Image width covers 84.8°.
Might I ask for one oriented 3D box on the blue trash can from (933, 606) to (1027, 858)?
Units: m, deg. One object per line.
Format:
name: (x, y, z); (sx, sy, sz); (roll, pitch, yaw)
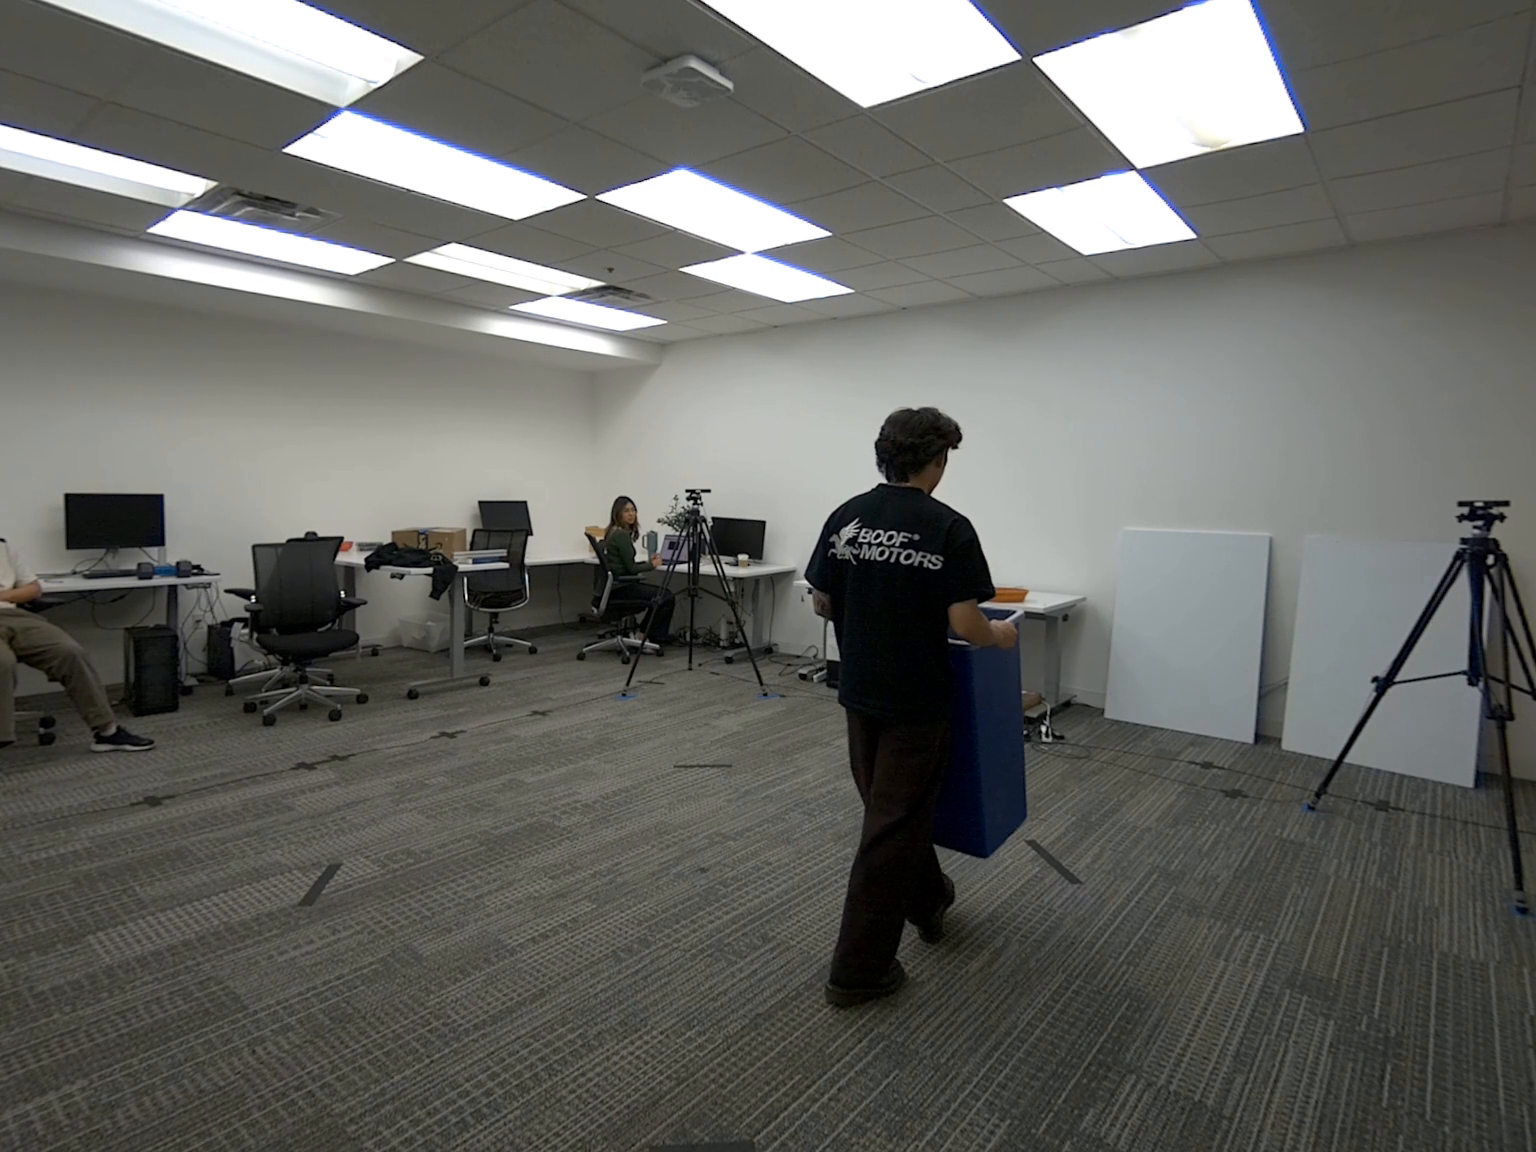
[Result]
blue trash can: (0.609, 0.480, 2.760); (0.386, 0.706, 0.370); (1, 13, 42)
